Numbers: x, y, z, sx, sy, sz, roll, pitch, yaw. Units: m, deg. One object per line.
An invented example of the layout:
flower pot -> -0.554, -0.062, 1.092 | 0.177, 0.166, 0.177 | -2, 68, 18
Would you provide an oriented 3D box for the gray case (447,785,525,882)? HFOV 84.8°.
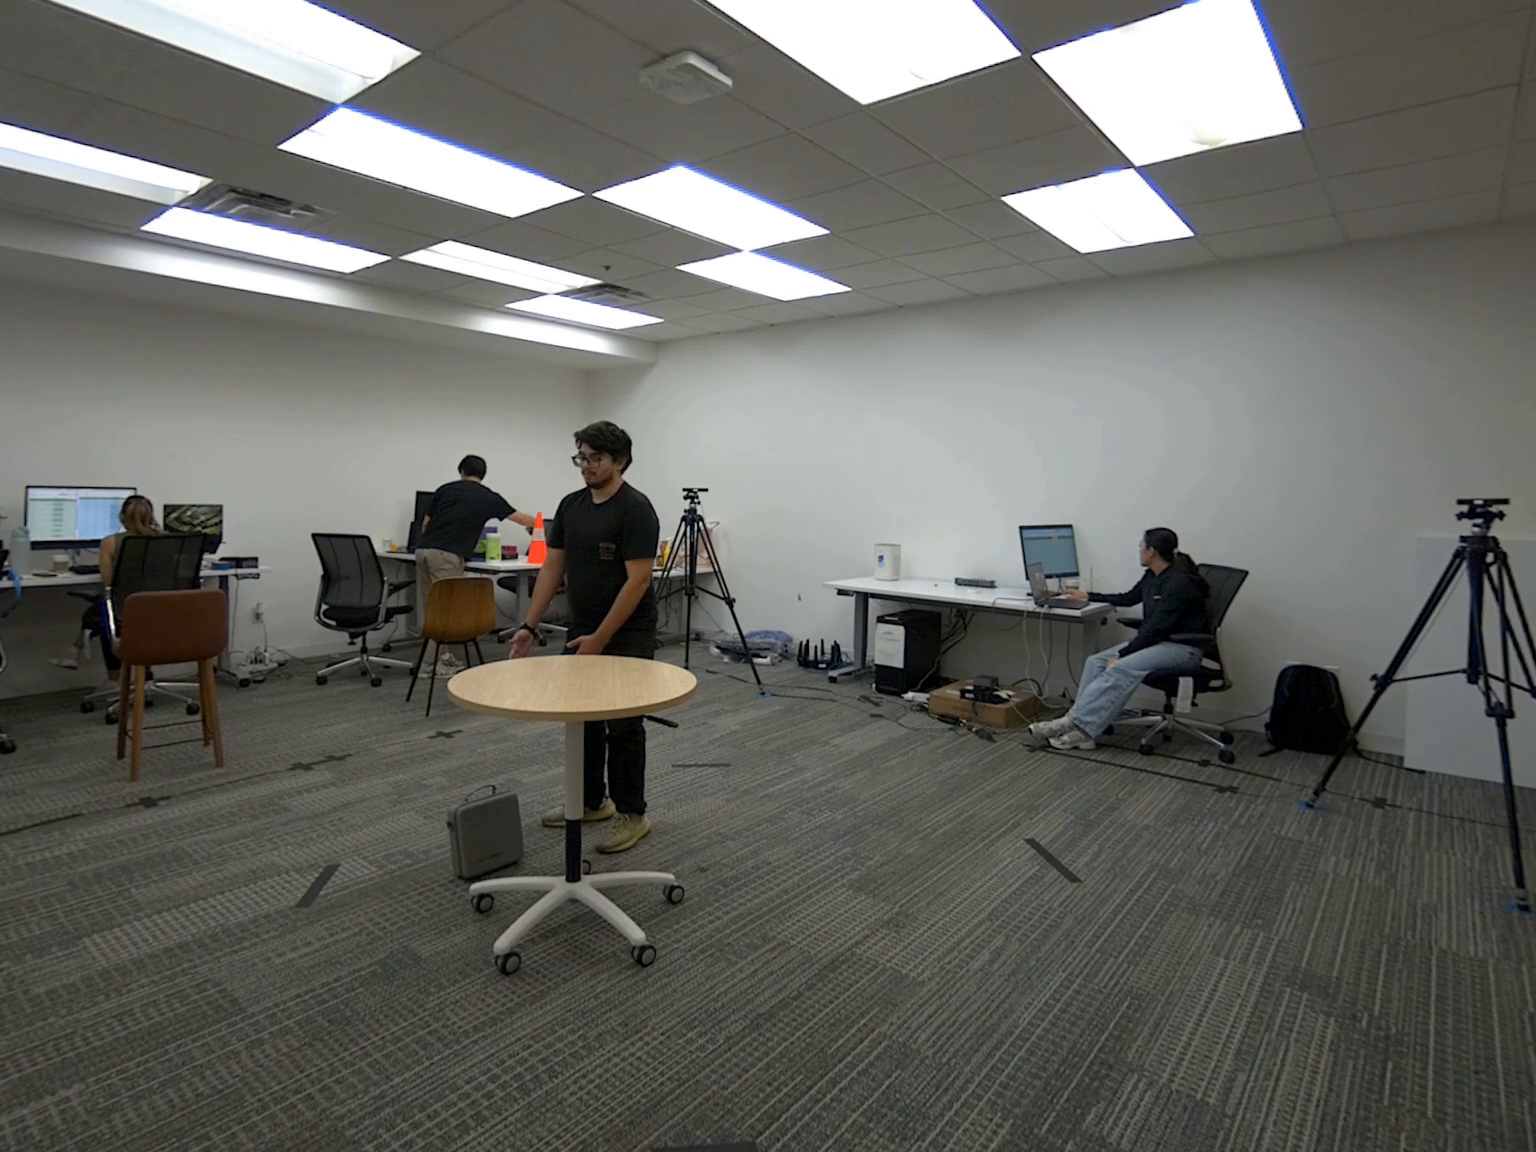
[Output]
gray case -> -1.040, 0.926, 3.091 | 0.107, 0.261, 0.249 | -11, -3, 43
